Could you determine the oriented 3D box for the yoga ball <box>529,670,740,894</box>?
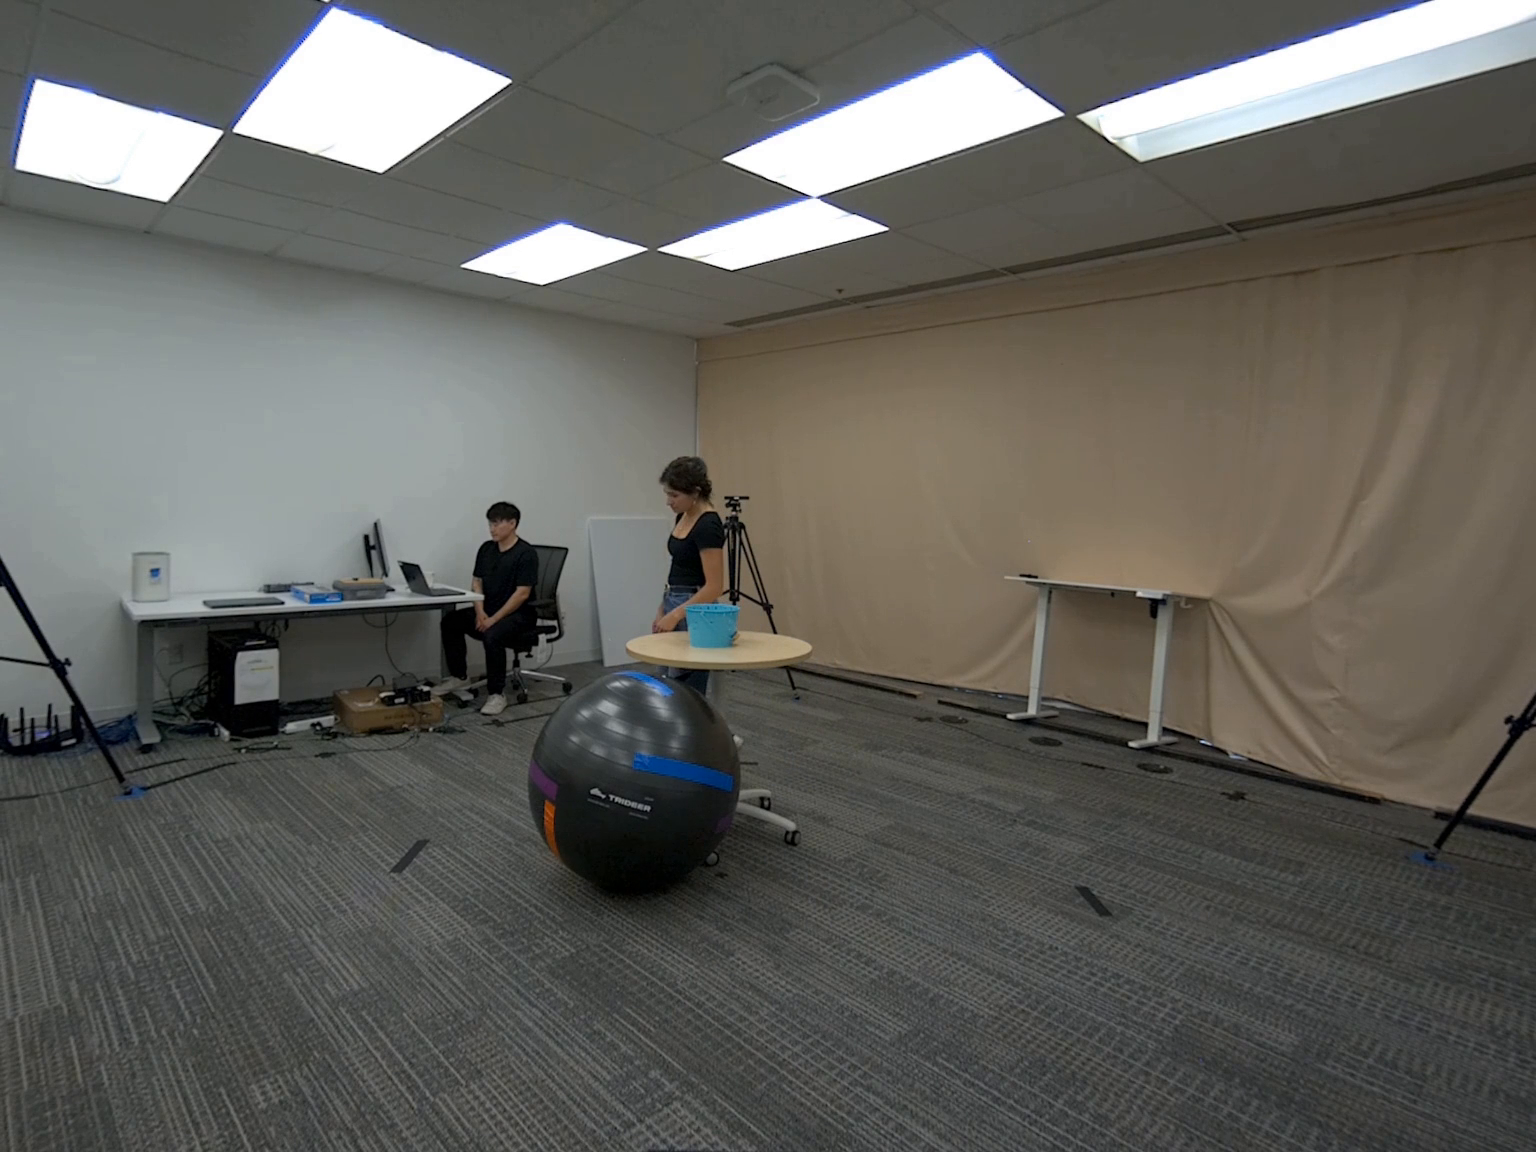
[{"bbox_3d":[-0.482,0.740,3.036,0.757,0.756,0.761,1,4,-1],"label":"yoga ball"}]
